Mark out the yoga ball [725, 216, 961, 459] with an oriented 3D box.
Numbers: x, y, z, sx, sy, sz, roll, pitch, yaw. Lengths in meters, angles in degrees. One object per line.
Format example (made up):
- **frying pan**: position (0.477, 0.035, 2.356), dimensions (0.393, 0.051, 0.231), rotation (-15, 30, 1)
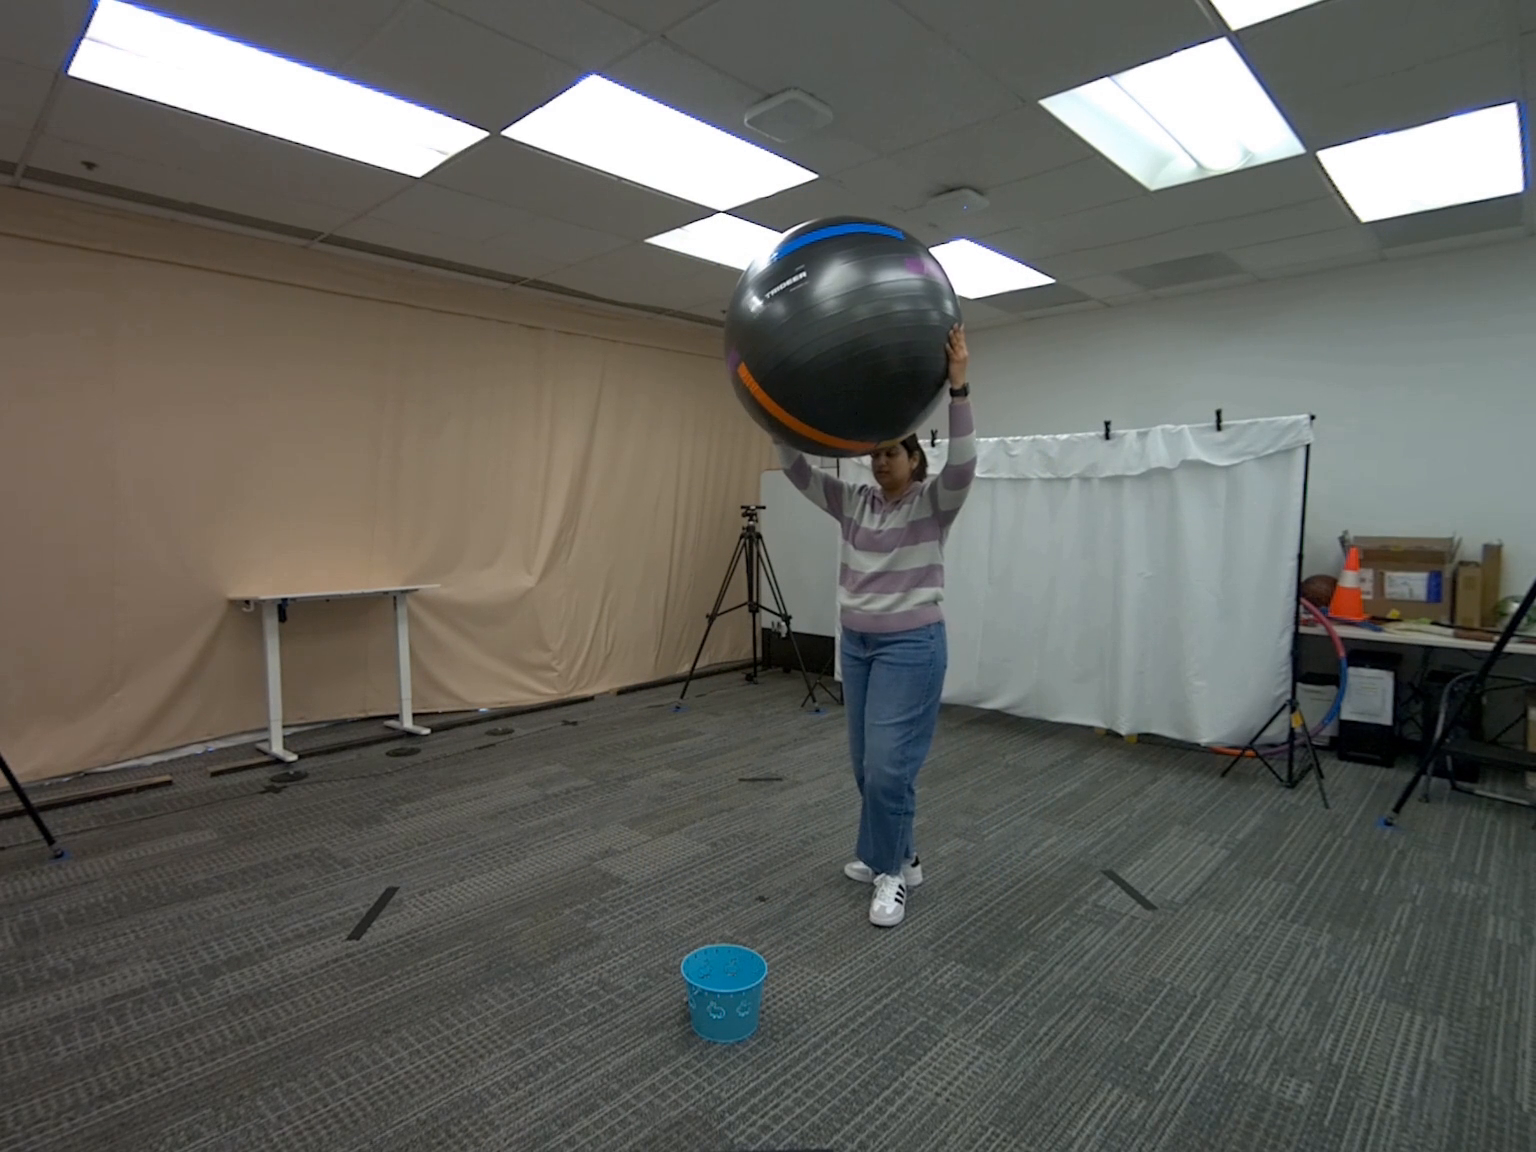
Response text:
- **yoga ball**: position (0.239, -0.757, 2.728), dimensions (0.757, 0.756, 0.761), rotation (0, 4, -2)
